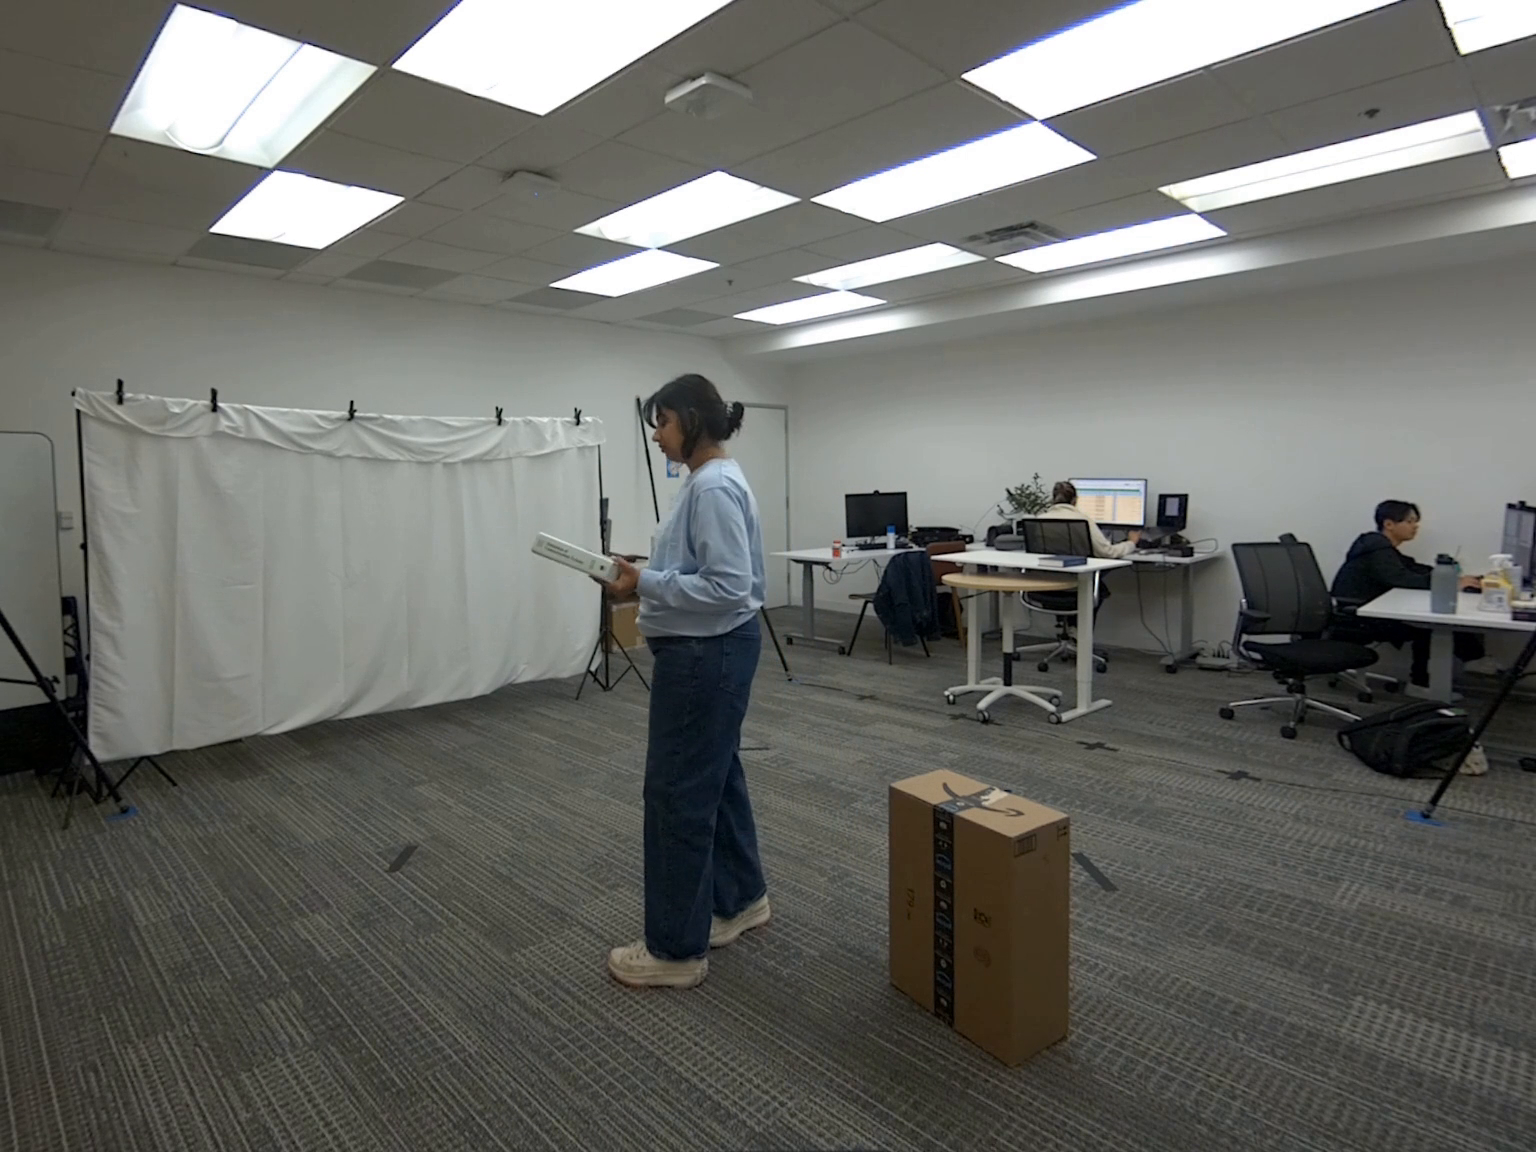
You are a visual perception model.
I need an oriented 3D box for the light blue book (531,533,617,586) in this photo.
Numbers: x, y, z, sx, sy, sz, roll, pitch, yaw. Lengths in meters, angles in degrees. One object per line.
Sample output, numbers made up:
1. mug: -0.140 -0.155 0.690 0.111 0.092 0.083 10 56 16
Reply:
1. light blue book: -0.488 -0.042 2.379 0.268 0.059 0.186 18 -4 22
